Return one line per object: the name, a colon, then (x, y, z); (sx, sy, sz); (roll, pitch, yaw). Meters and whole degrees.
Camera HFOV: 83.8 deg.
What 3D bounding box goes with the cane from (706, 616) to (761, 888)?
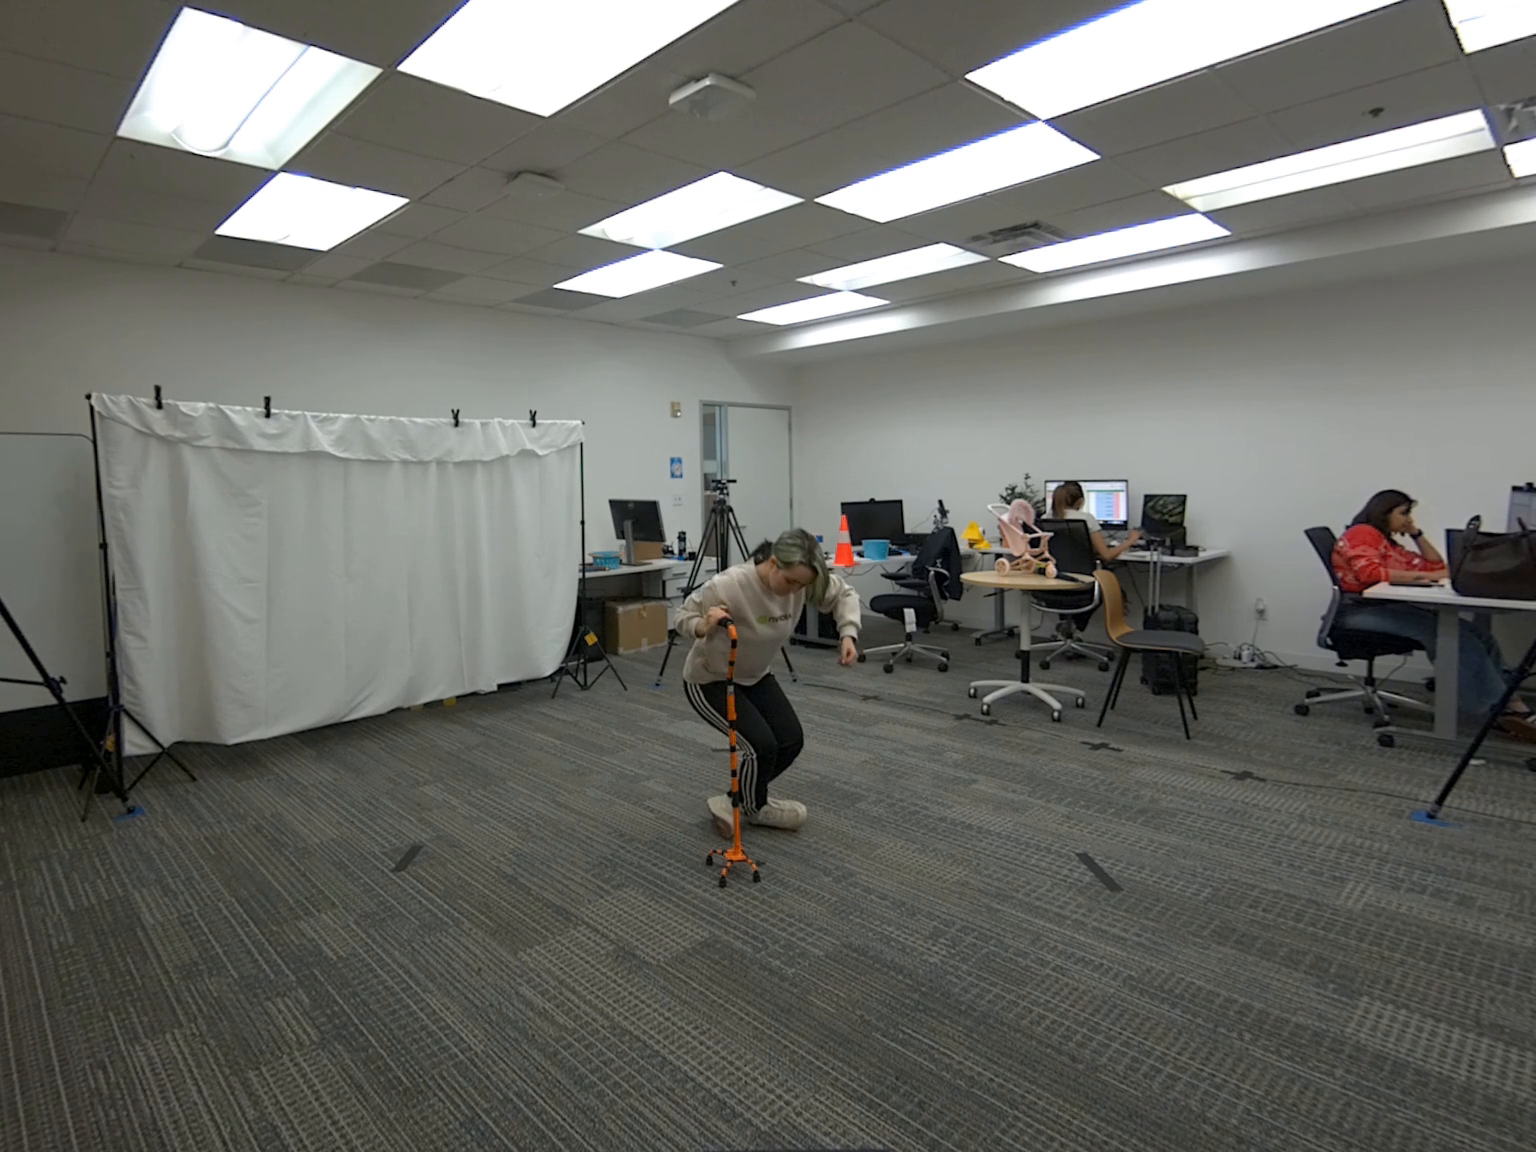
cane: (-0.137, 0.612, 3.010); (0.149, 0.903, 0.210); (-2, 6, -17)
